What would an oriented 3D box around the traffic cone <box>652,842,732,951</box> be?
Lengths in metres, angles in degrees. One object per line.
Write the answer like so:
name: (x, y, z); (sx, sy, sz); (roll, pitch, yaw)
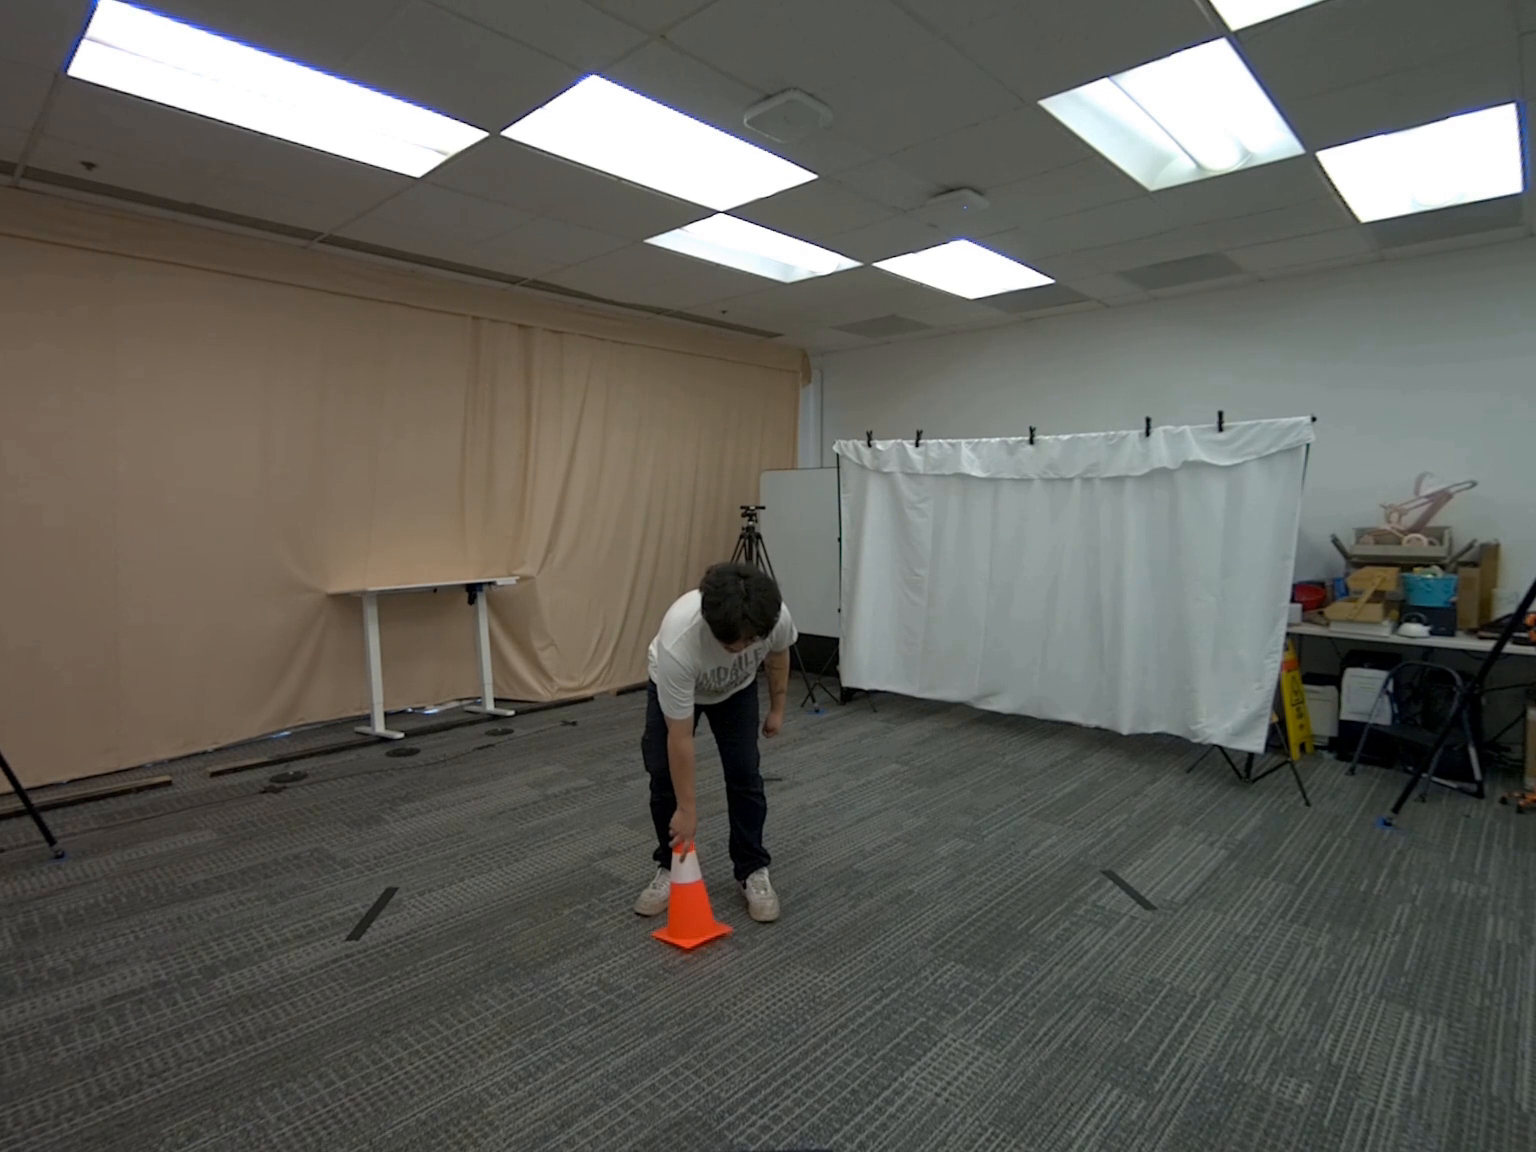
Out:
traffic cone: (-0.258, 0.962, 2.745); (0.198, 0.385, 0.209); (0, -7, -43)
